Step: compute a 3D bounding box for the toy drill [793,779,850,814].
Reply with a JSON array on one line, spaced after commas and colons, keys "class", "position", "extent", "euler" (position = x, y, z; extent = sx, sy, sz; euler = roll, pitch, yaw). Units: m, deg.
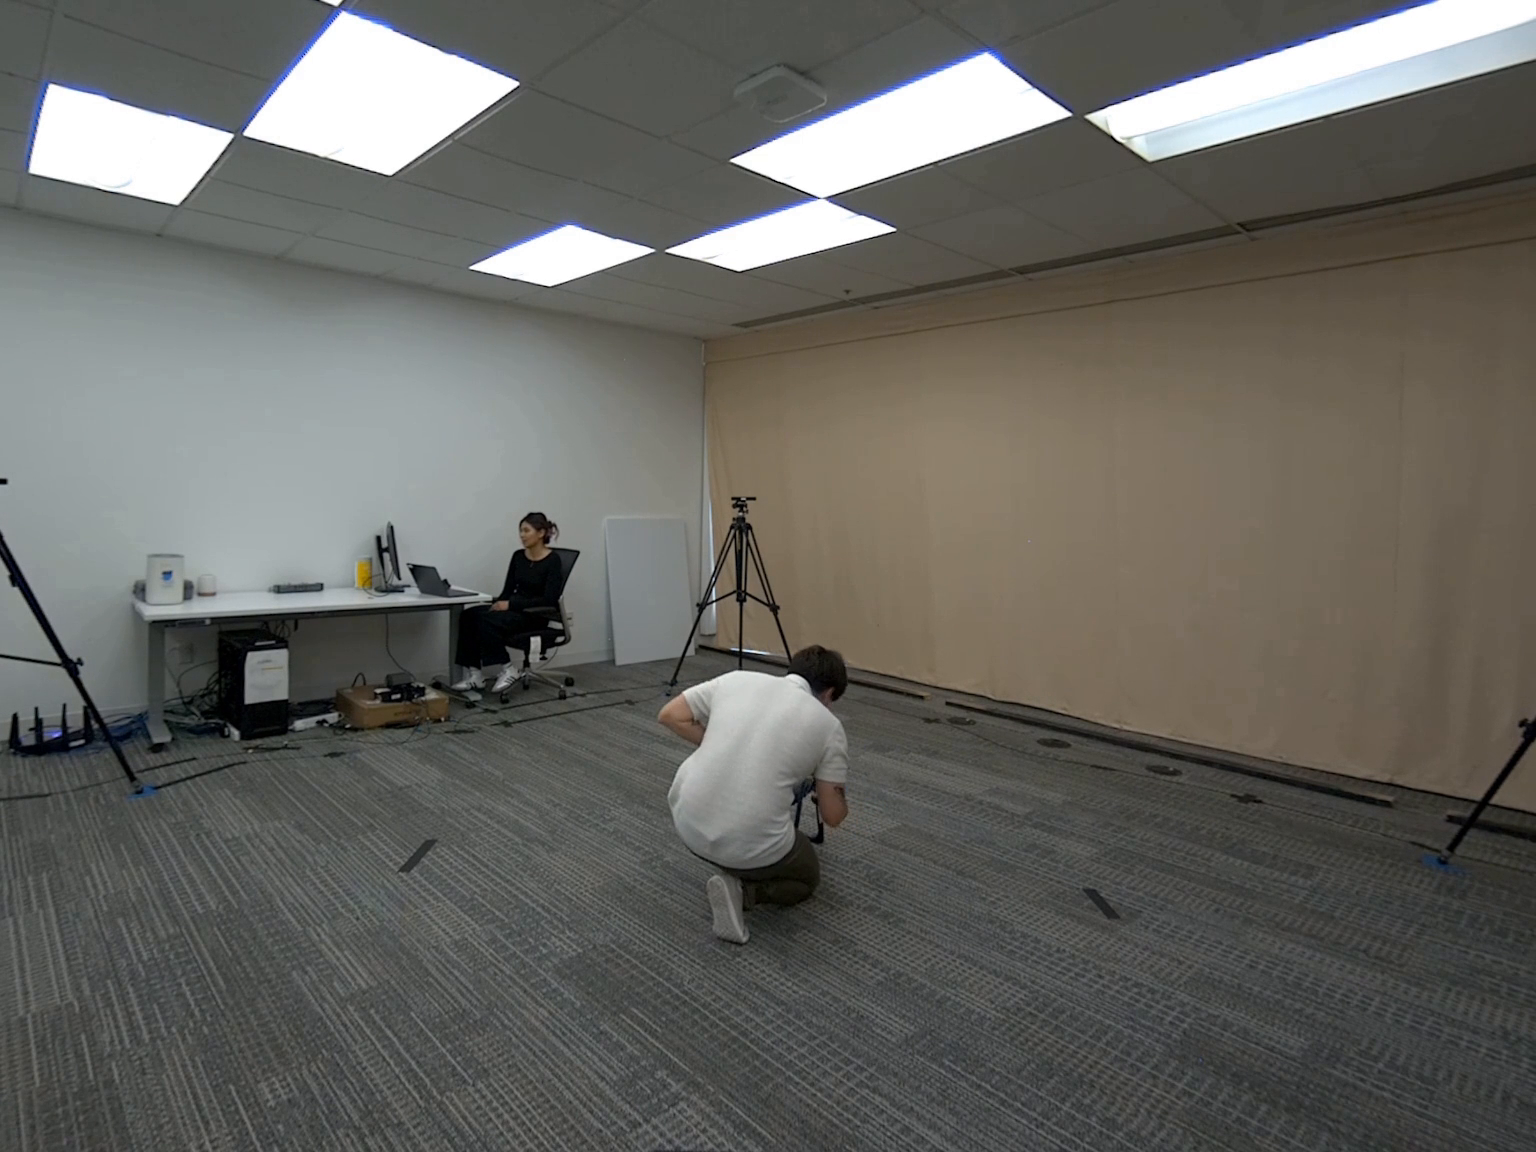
[{"class": "toy drill", "position": [0.186, 0.787, 3.122], "extent": [0.174, 0.147, 0.059], "euler": [14, -22, 30]}]
